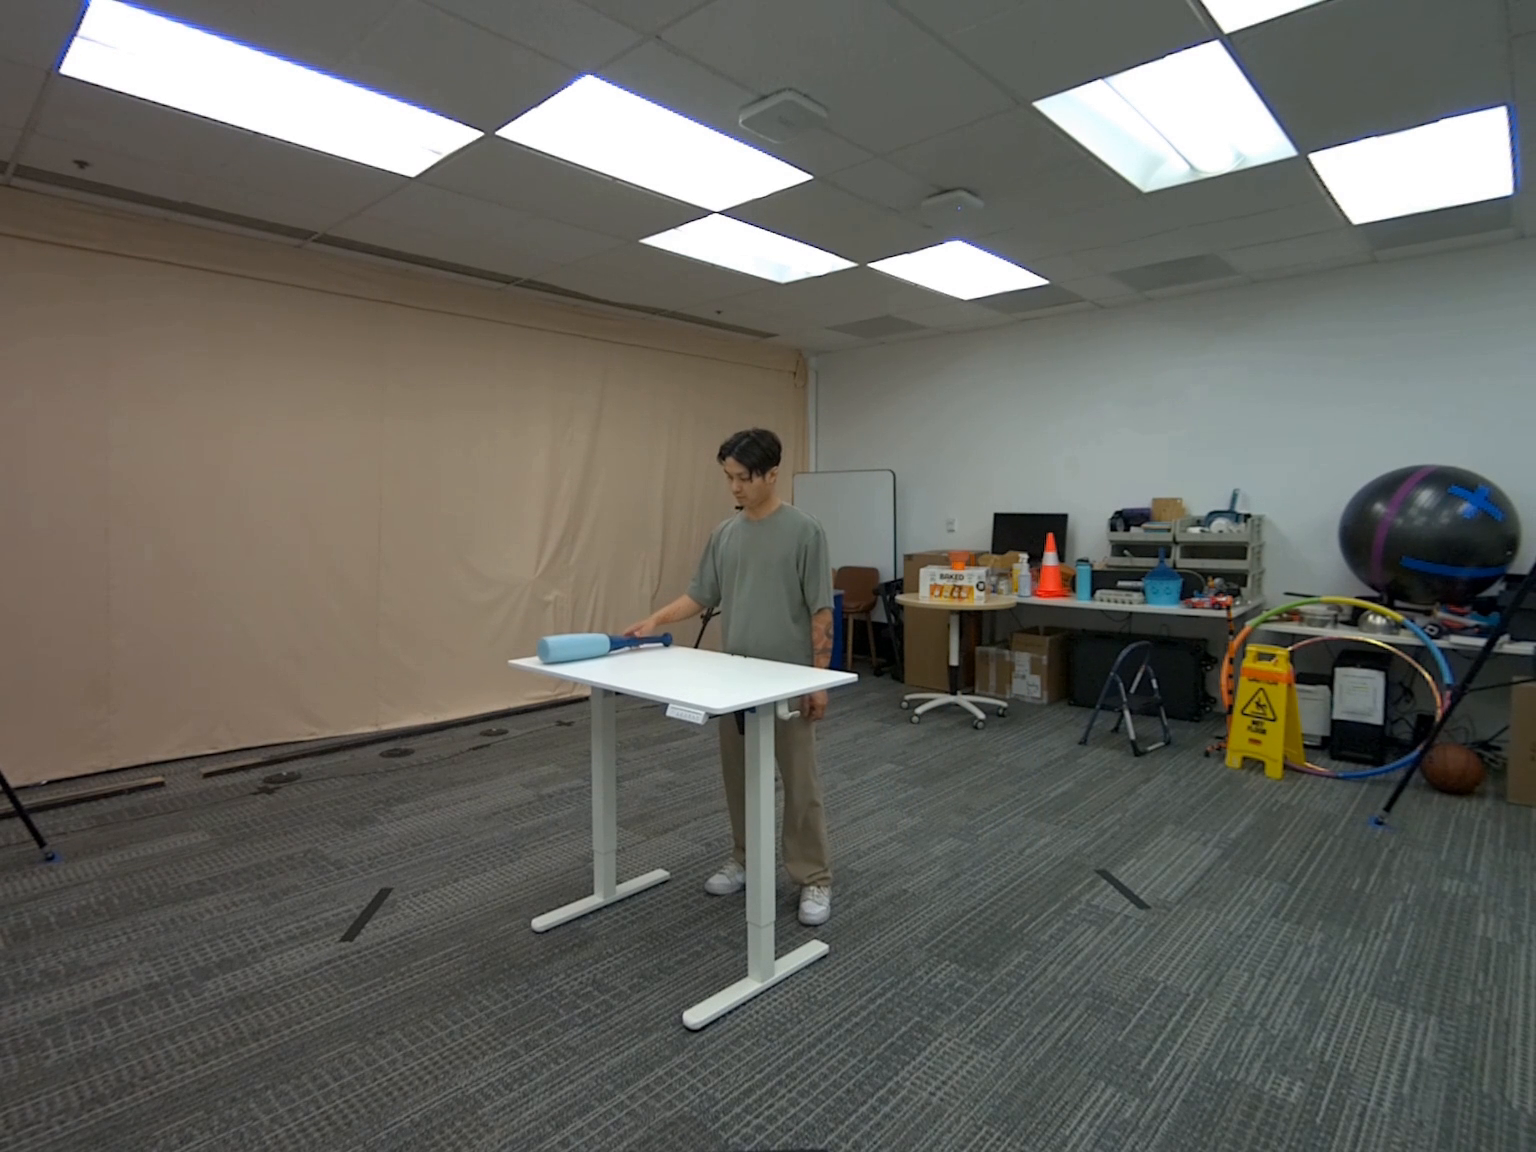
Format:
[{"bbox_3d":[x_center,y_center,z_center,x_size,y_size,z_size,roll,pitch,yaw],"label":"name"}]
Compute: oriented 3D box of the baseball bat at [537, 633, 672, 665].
[{"bbox_3d":[-0.550,0.239,2.918,0.526,0.089,0.092,-1,3,-45],"label":"baseball bat"}]
